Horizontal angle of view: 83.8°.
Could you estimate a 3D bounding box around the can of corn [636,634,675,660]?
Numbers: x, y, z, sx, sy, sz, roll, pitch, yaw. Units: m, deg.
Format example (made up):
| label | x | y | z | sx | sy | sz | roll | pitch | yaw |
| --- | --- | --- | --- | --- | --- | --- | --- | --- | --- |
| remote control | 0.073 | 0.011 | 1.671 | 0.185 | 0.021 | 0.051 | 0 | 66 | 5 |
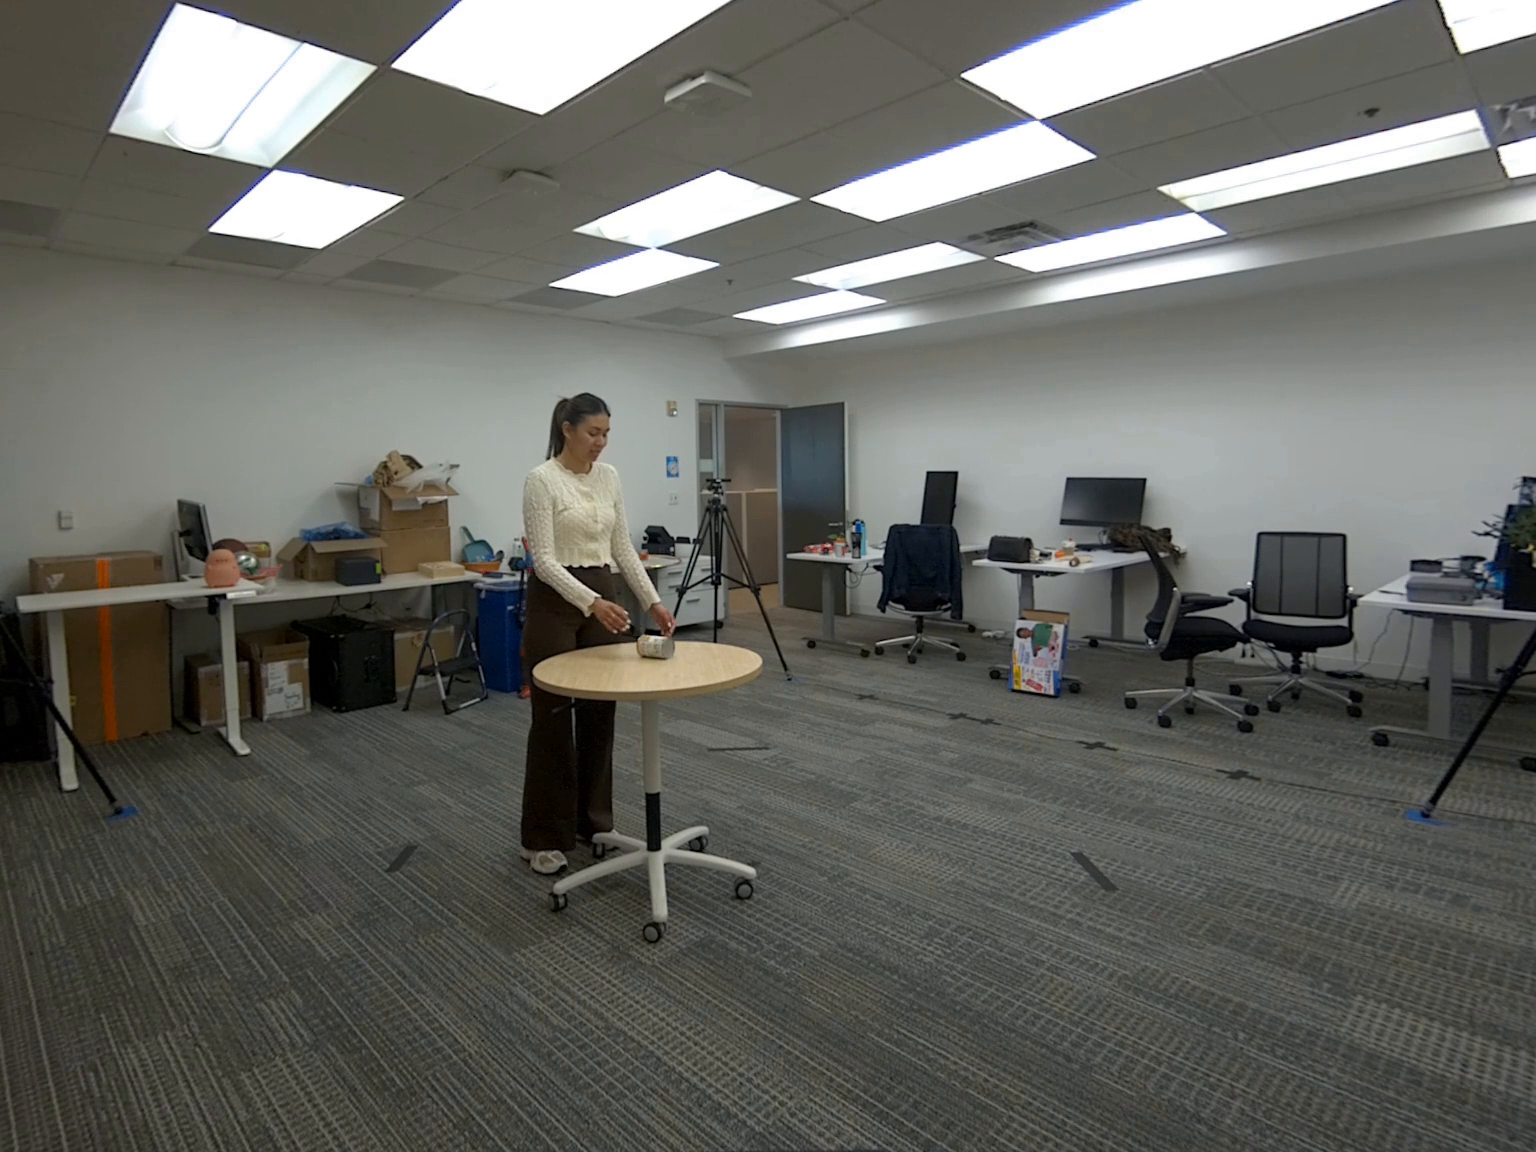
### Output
| label | x | y | z | sx | sy | sz | roll | pitch | yaw |
| --- | --- | --- | --- | --- | --- | --- | --- | --- | --- |
| can of corn | -0.389 | 0.245 | 2.960 | 0.114 | 0.074 | 0.073 | 2 | 6 | 27 |
